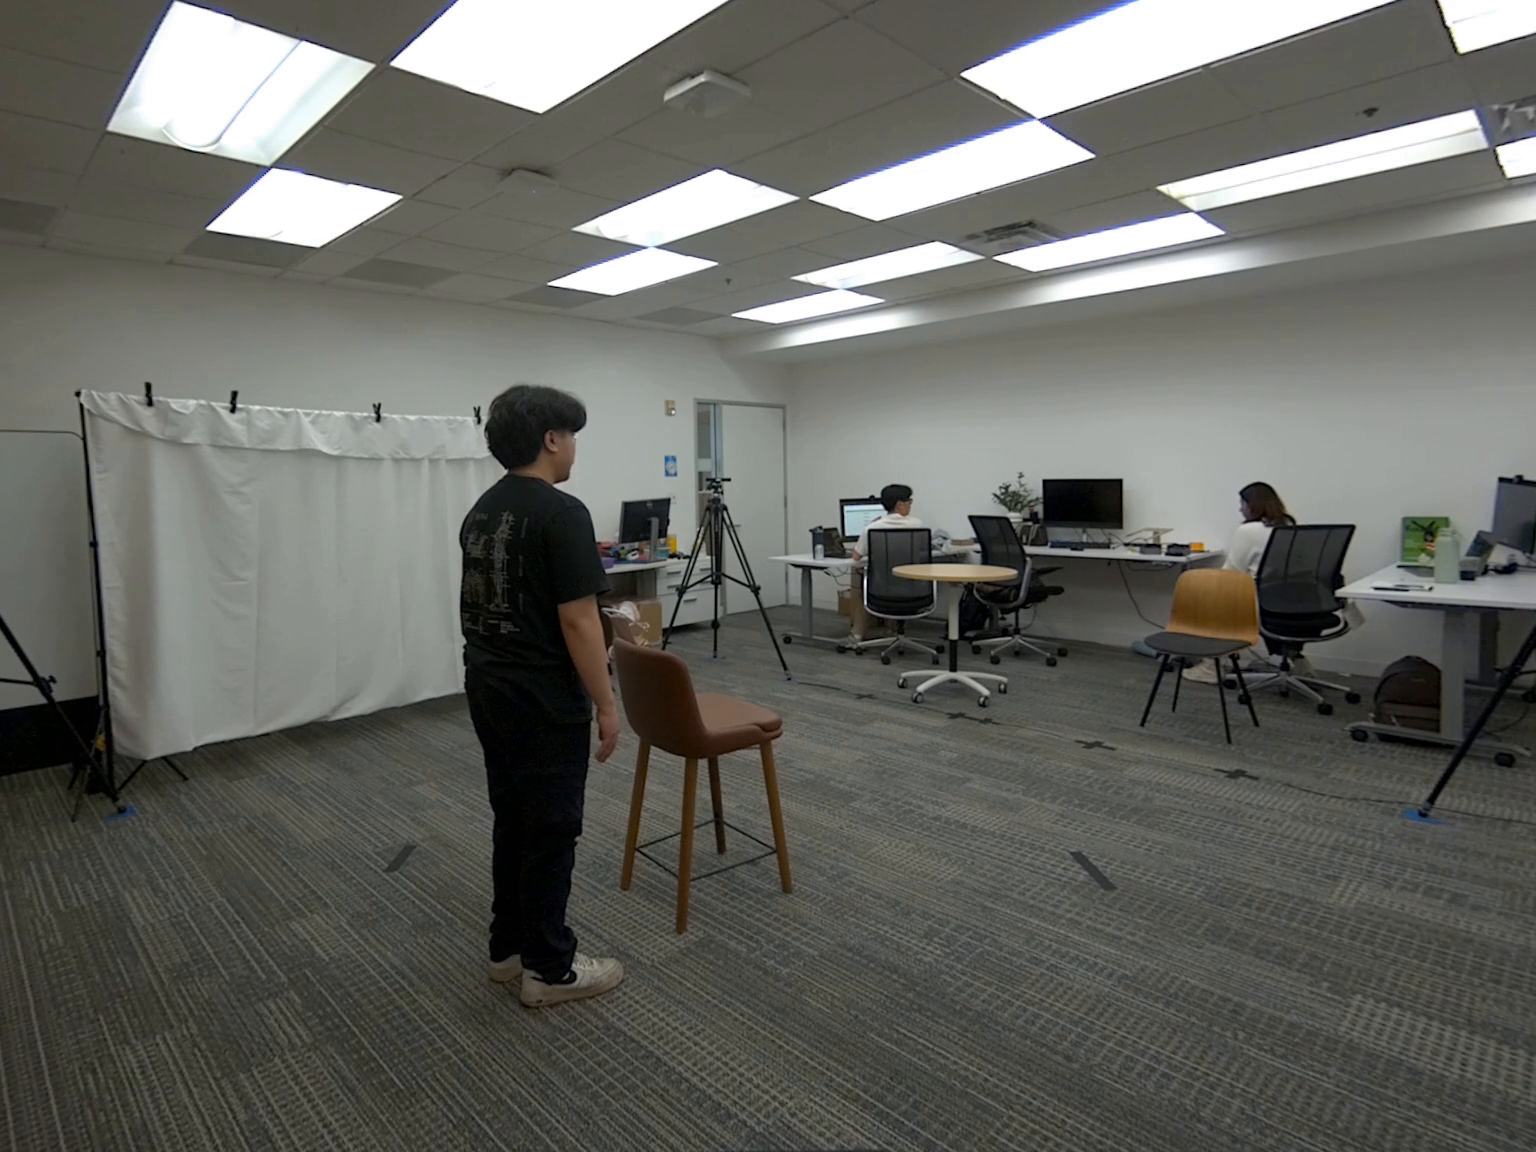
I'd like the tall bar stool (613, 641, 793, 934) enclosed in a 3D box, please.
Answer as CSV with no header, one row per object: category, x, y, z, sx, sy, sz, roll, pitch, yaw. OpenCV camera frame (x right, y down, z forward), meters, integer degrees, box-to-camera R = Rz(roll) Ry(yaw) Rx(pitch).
tall bar stool,-0.226,0.637,2.879,0.456,0.885,0.470,-6,7,-37
